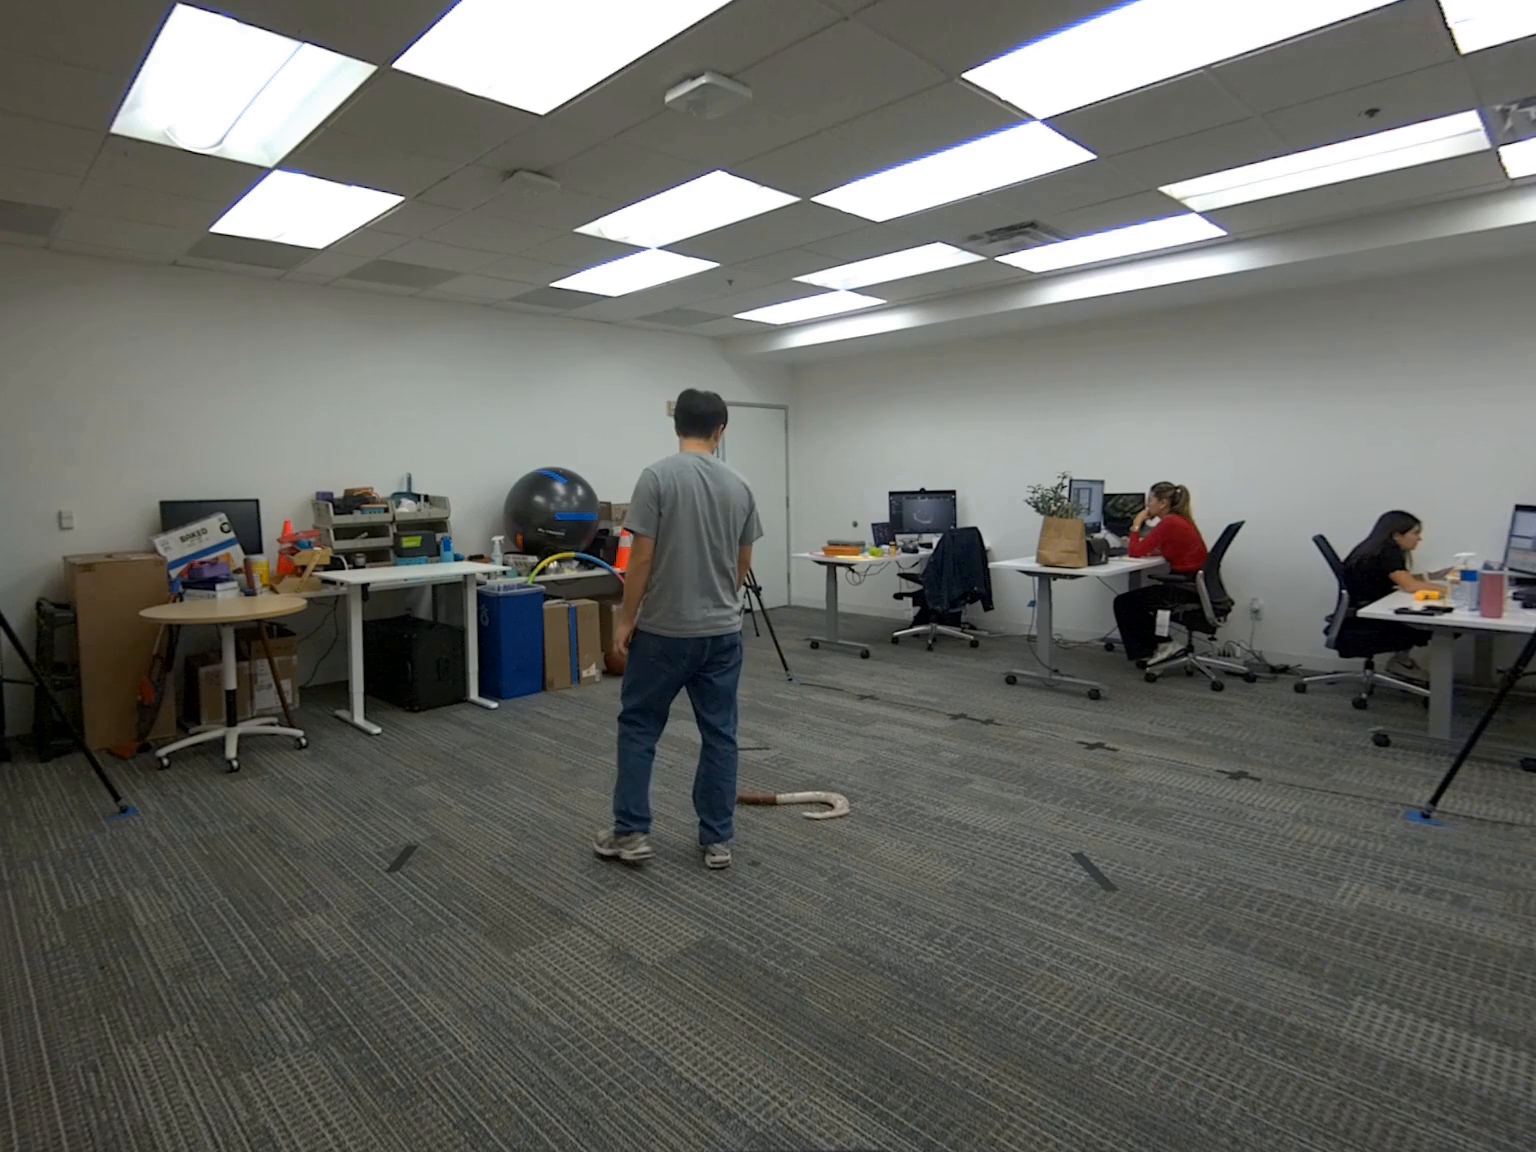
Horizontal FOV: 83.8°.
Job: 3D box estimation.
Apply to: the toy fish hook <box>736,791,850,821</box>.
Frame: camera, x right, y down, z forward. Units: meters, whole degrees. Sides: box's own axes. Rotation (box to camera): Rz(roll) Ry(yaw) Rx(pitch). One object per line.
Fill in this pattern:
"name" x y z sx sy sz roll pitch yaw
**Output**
"toy fish hook" 0.089 0.961 3.611 0.509 0.048 0.224 -1 6 6
